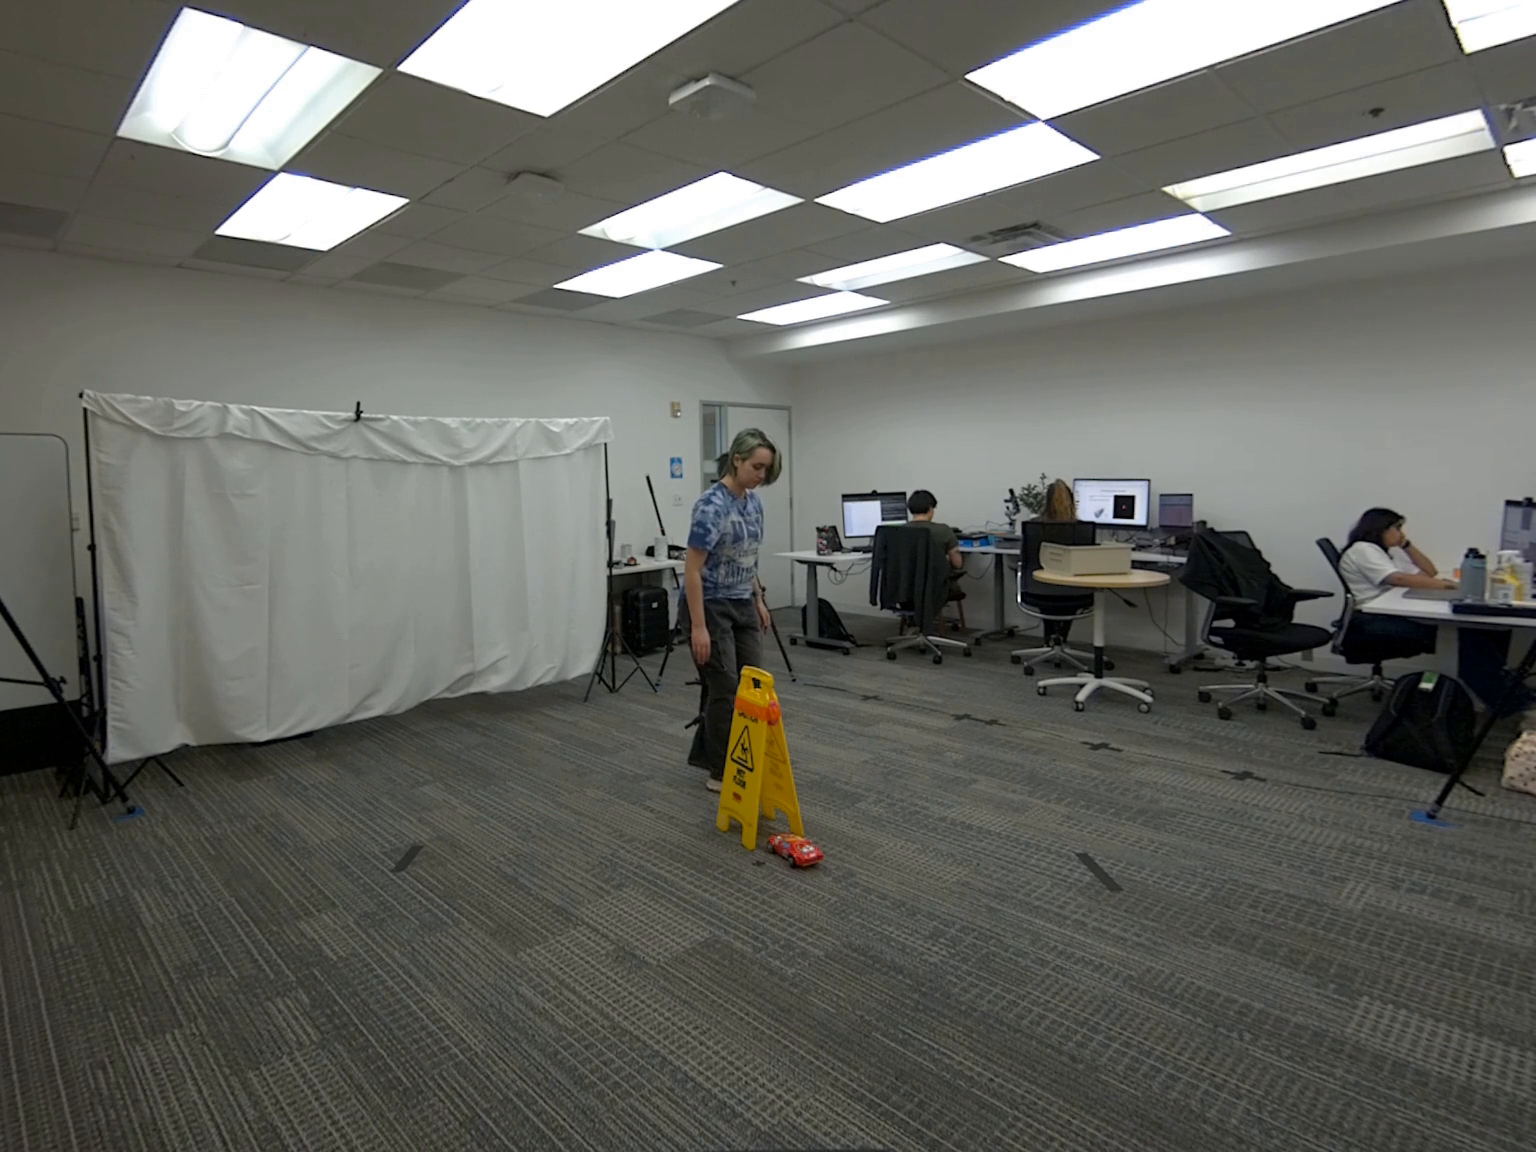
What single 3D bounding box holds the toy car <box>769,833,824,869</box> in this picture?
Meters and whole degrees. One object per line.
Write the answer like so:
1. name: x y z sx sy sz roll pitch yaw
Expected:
1. toy car: 0.108 1.016 3.137 0.127 0.084 0.258 -5 -6 -28
